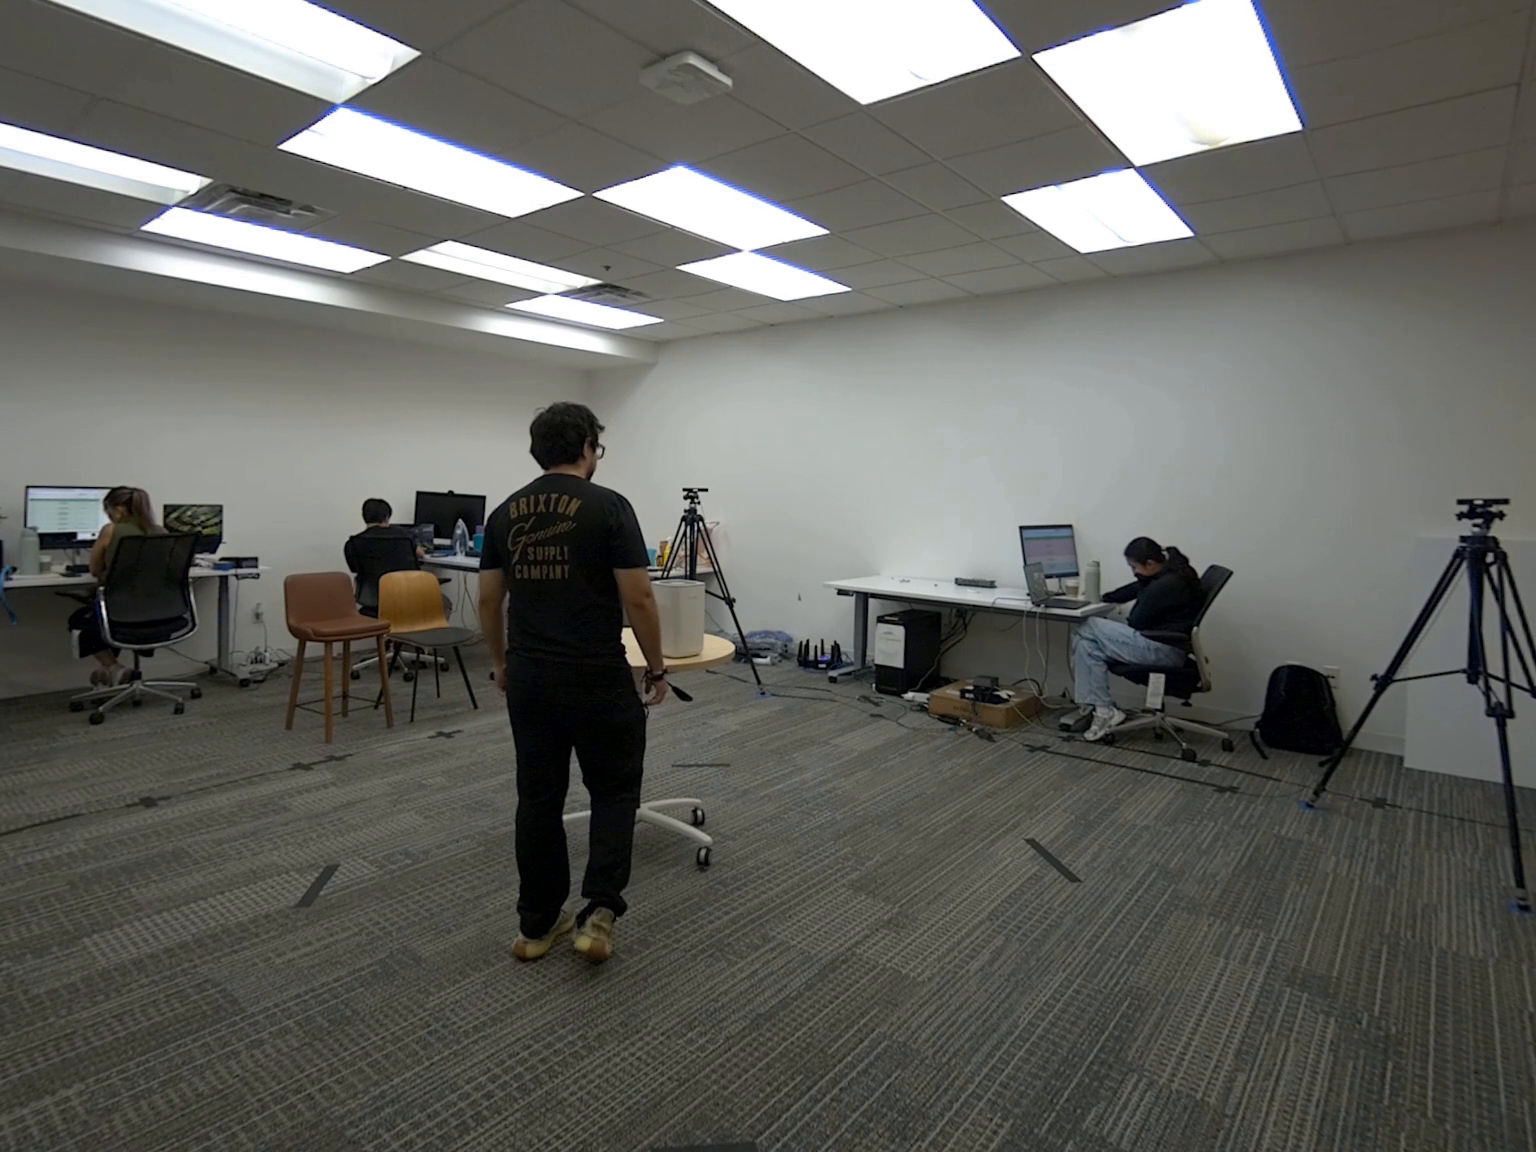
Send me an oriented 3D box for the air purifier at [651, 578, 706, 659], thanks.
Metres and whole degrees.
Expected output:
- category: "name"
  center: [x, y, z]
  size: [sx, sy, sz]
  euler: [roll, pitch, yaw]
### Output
- category: "air purifier"
  center: [-0.341, 0.152, 3.128]
  size: [0.177, 0.264, 0.166]
  euler: [7, 6, 44]
